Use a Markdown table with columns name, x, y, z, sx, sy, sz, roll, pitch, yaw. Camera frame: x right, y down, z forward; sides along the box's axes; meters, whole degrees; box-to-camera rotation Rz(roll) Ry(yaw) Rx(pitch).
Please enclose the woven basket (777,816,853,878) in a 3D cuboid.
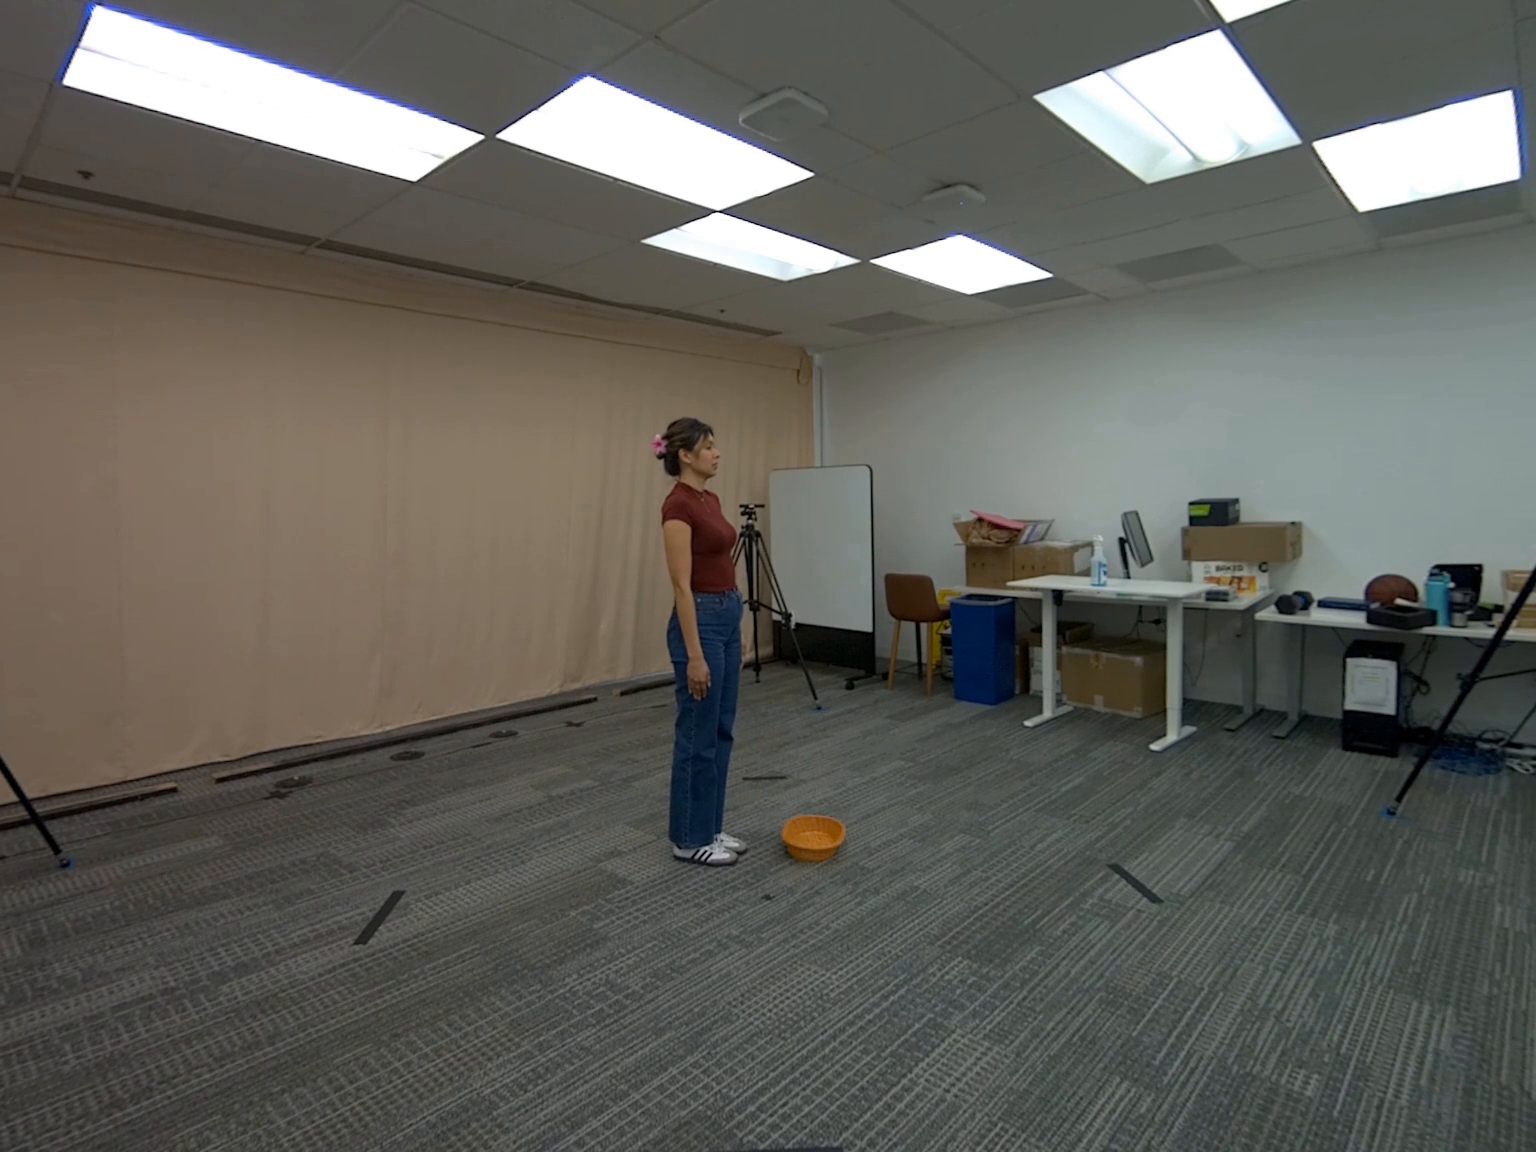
| name | x | y | z | sx | sy | sz | roll | pitch | yaw |
| --- | --- | --- | --- | --- | --- | --- | --- | --- | --- |
| woven basket | 0.192 | 1.076 | 3.393 | 0.256 | 0.073 | 0.346 | 2 | 6 | 12 |
